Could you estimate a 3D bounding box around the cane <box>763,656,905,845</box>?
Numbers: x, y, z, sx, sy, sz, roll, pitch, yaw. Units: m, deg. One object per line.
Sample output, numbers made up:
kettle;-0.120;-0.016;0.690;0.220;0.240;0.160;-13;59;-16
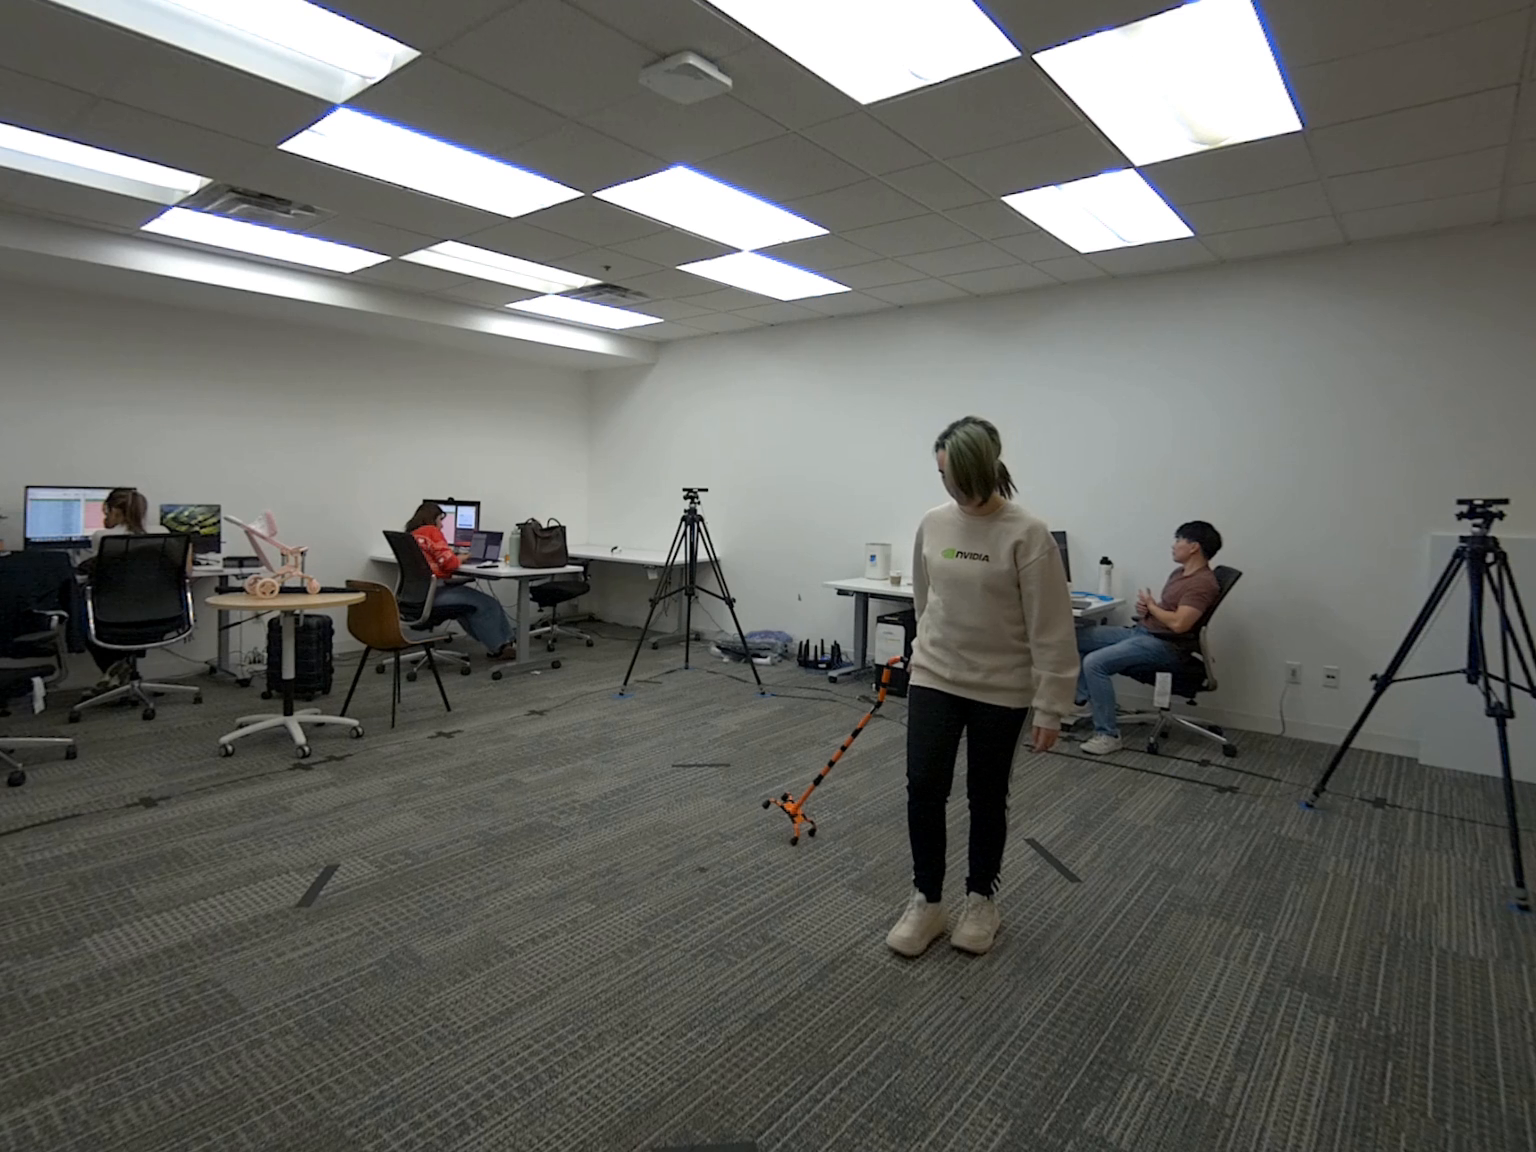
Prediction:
cane;0.284;0.645;3.246;0.147;0.902;0.214;-1;41;-50
